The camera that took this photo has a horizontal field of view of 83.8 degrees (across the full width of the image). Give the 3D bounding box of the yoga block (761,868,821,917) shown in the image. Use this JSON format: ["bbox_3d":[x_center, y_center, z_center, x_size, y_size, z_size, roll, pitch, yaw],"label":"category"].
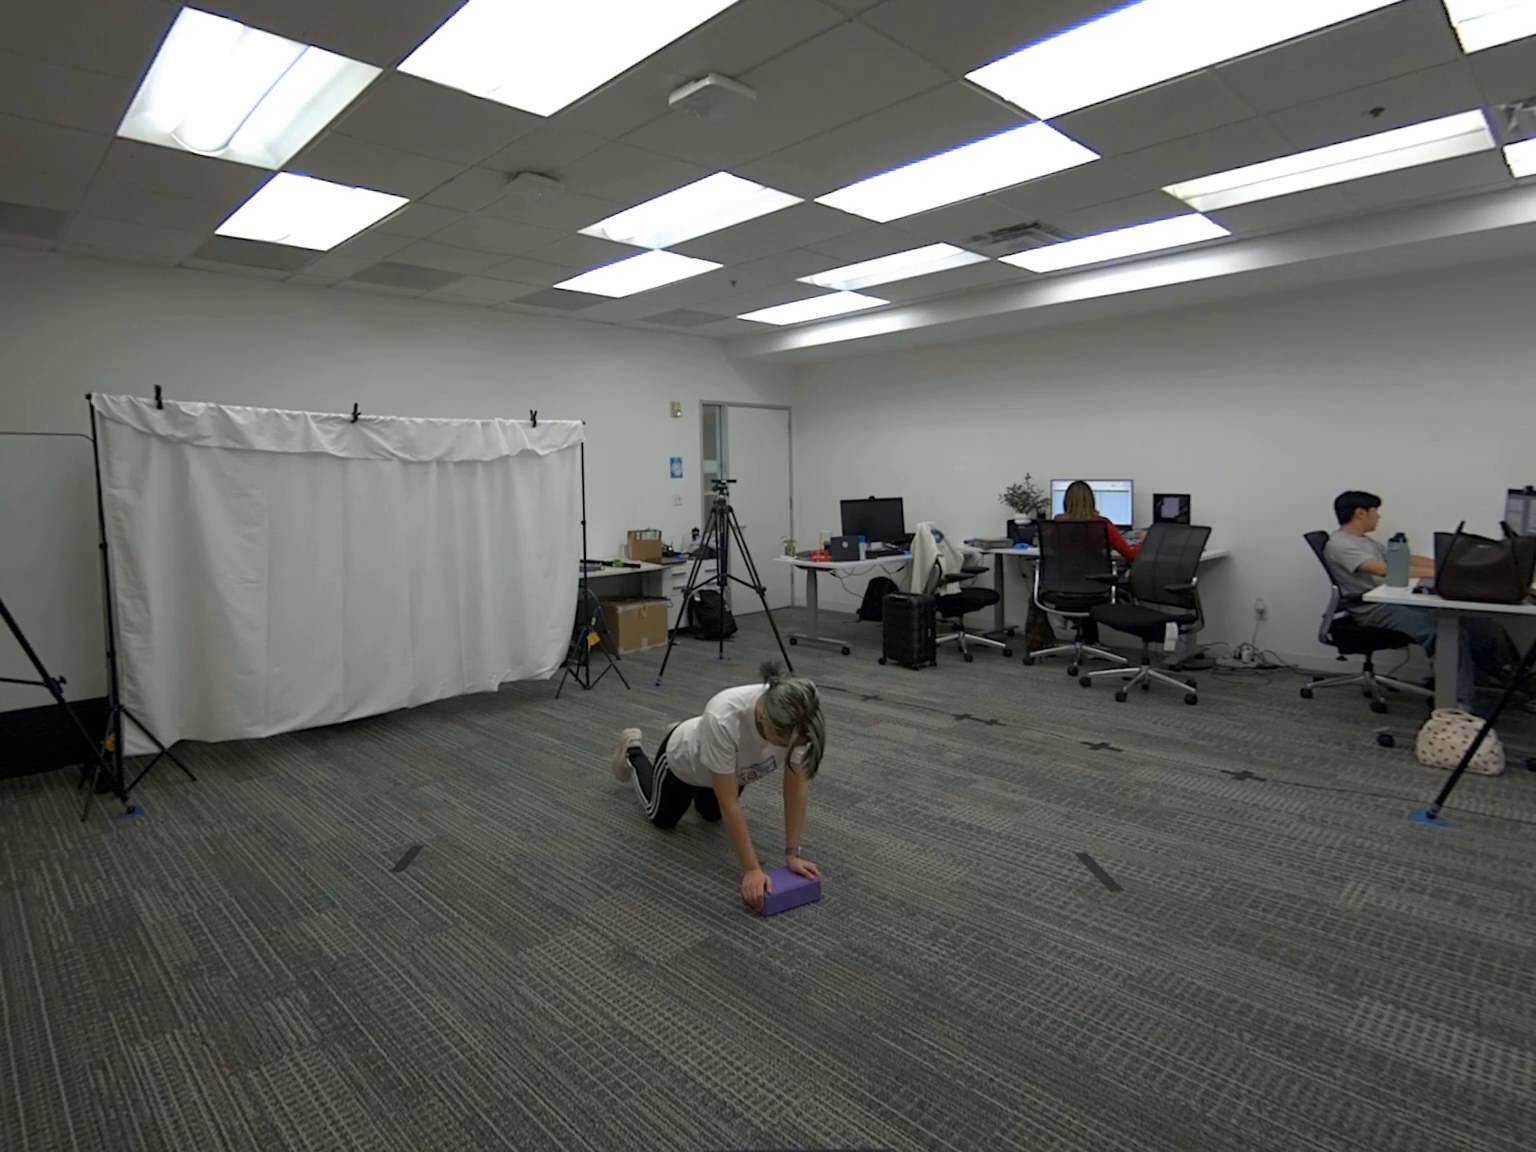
[{"bbox_3d":[0.048,1.040,2.839,0.224,0.076,0.153,-4,7,-32],"label":"yoga block"}]
